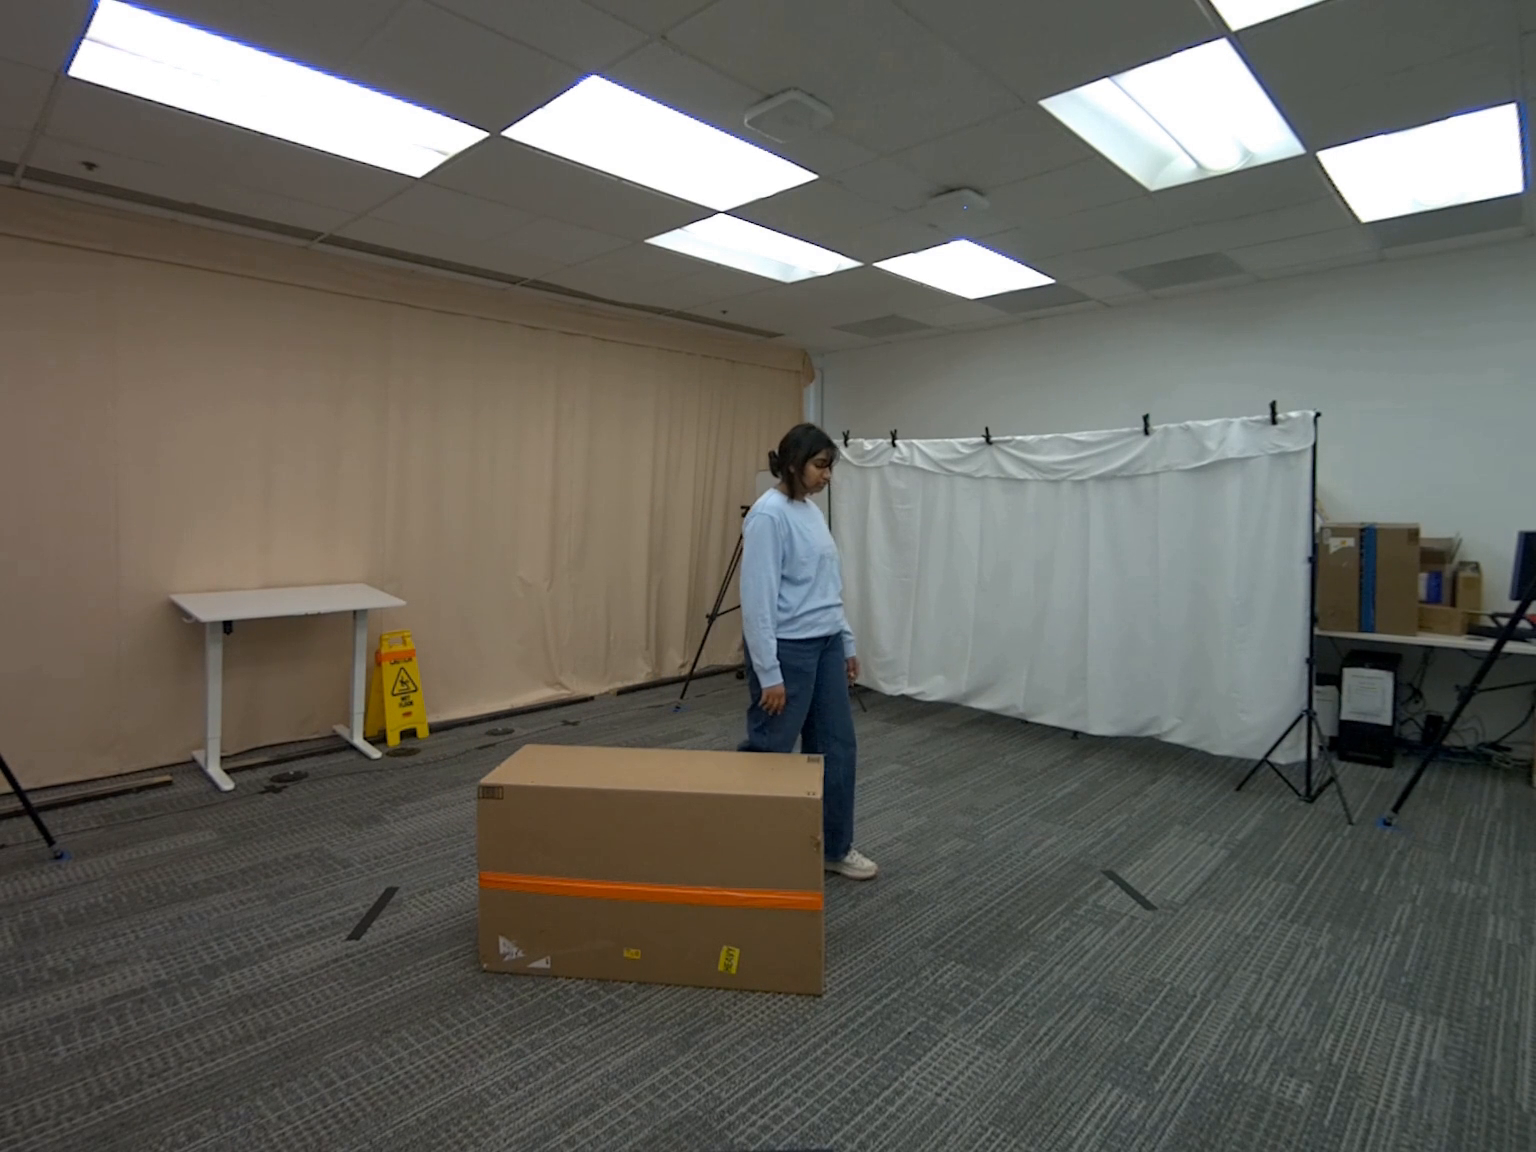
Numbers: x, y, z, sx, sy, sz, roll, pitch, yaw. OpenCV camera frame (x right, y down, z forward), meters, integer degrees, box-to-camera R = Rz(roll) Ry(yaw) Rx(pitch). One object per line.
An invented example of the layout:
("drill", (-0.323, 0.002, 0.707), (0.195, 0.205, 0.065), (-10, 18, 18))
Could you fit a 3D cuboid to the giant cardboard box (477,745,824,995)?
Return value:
("giant cardboard box", (-0.346, 0.883, 2.640), (1.035, 0.576, 0.423), (1, 4, 7))
